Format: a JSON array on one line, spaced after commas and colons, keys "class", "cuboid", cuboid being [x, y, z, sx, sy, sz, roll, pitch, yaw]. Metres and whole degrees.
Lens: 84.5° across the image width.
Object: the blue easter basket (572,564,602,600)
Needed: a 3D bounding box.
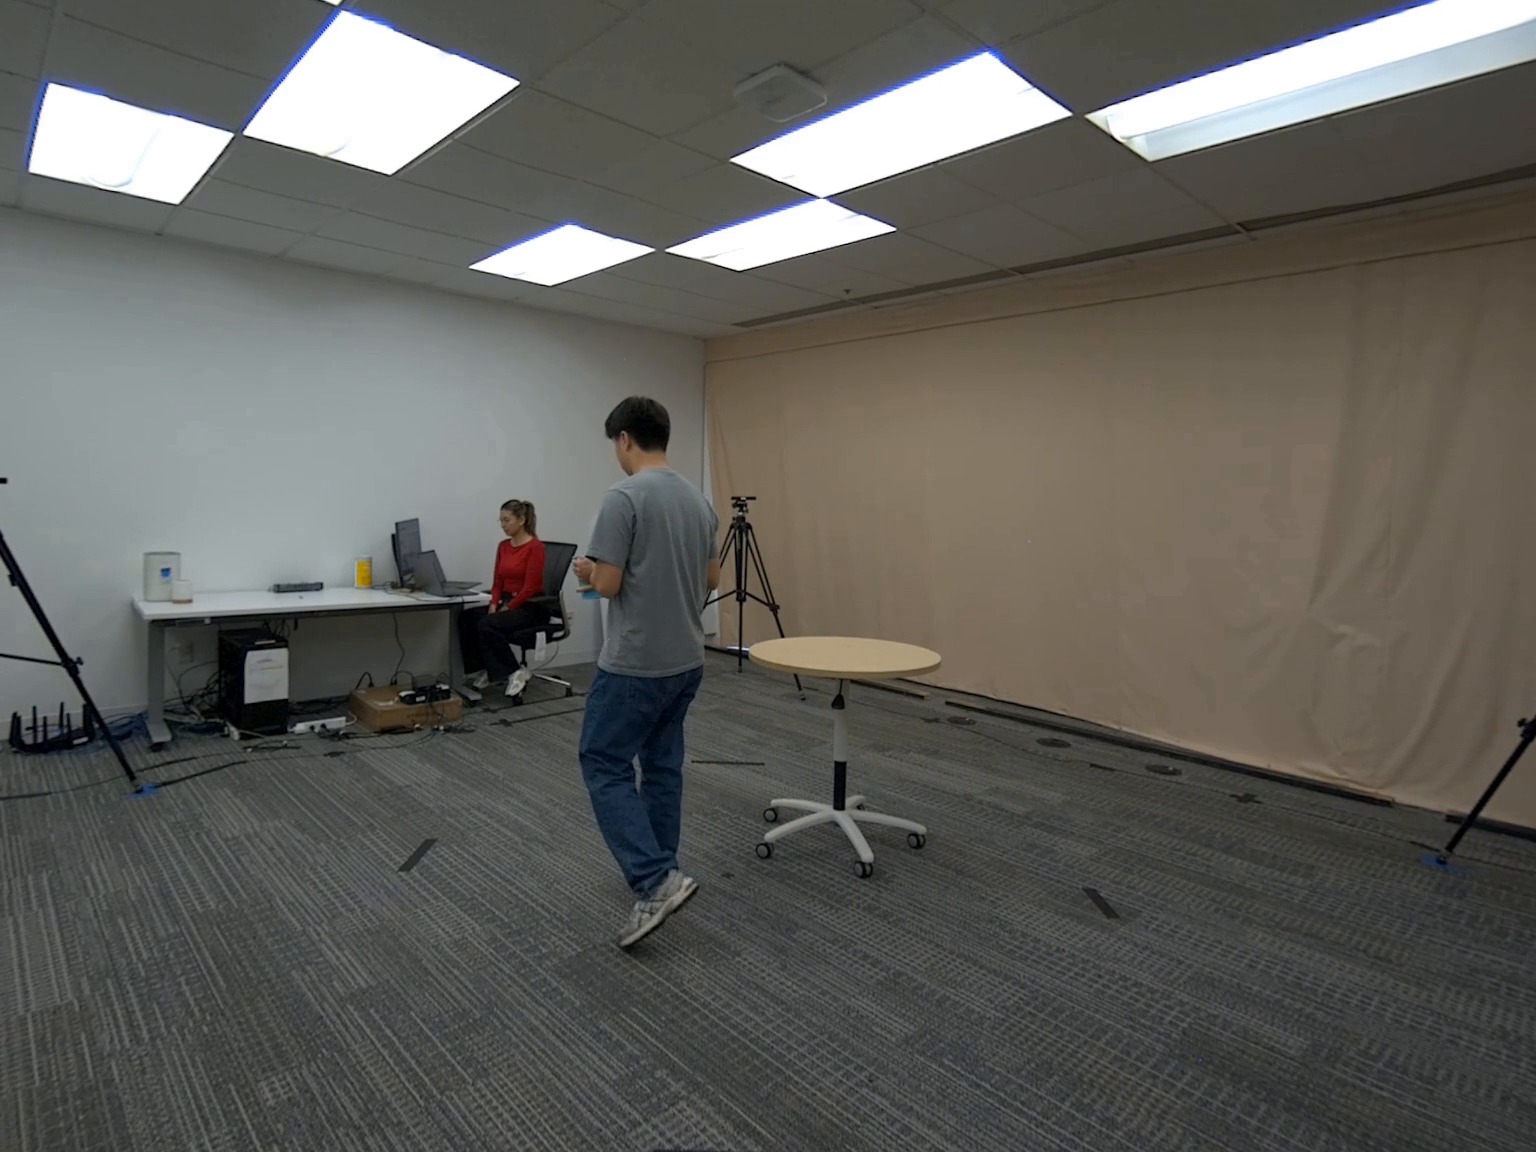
[{"class": "blue easter basket", "cuboid": [-0.573, 0.007, 3.015, 0.243, 0.156, 0.243, -4, -2, -2]}]
